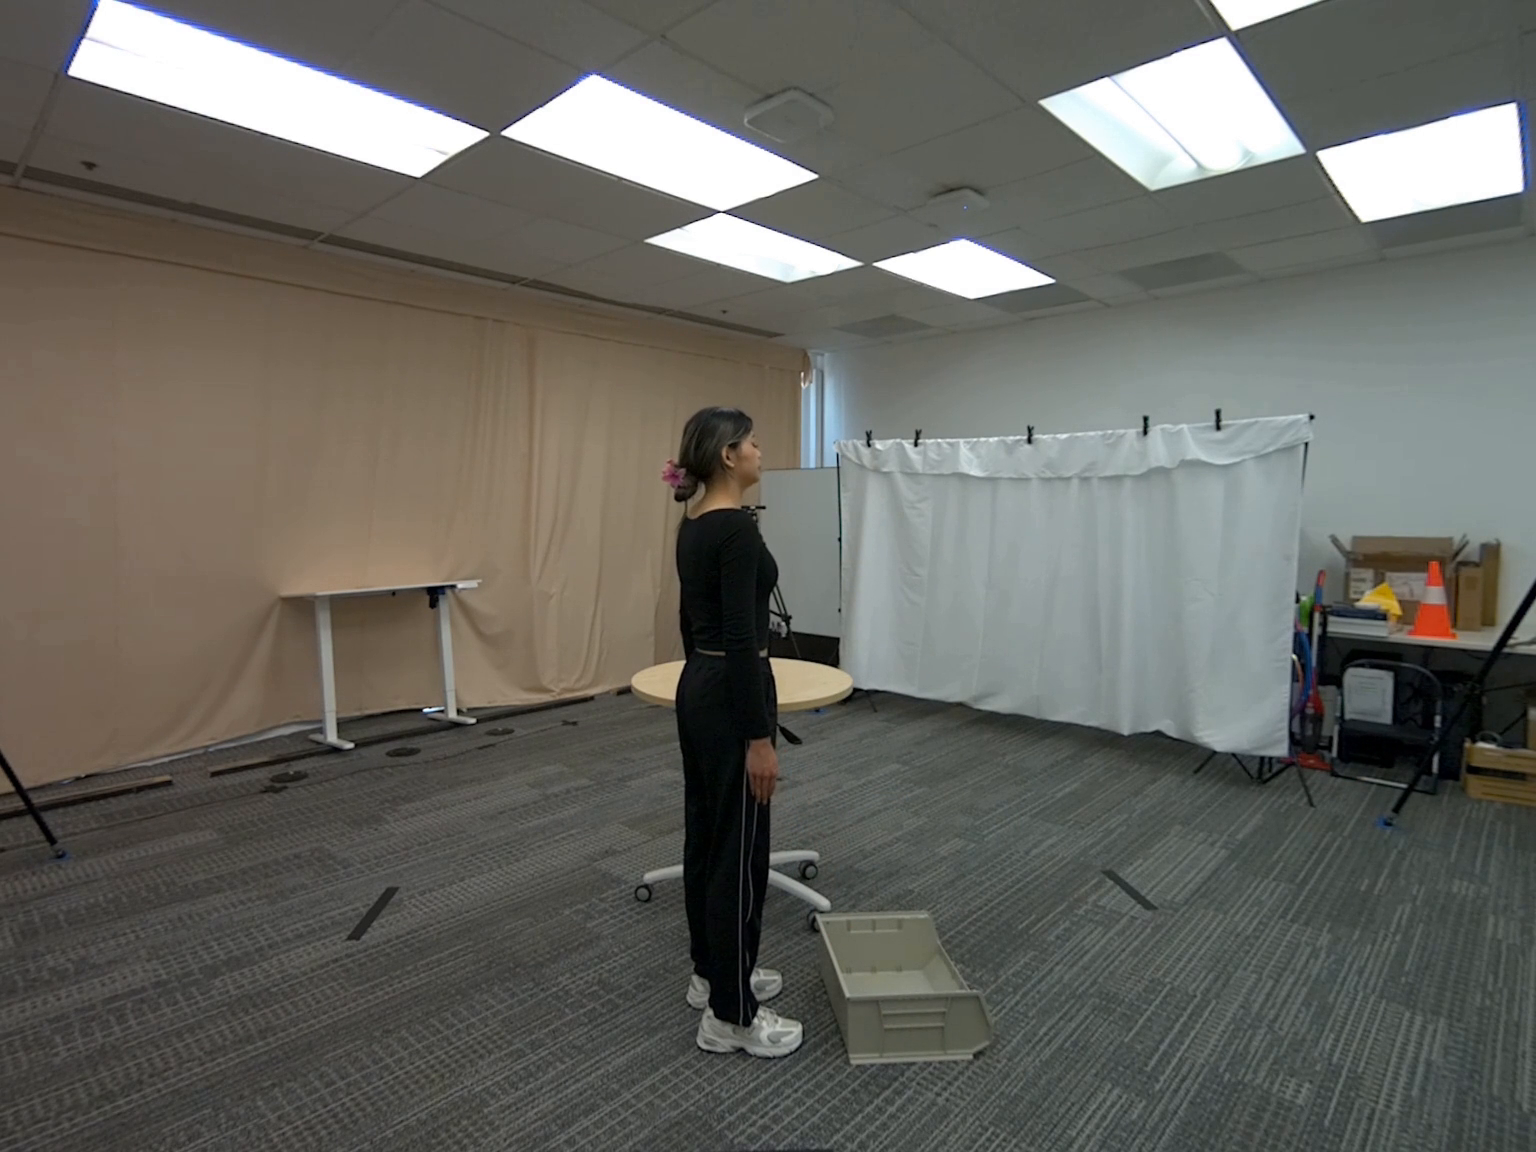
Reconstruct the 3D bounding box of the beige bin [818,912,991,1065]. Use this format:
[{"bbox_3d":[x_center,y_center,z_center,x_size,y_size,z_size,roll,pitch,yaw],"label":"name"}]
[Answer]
[{"bbox_3d":[0.359,1.112,2.302,0.375,0.188,0.426,-1,5,-6],"label":"beige bin"}]
